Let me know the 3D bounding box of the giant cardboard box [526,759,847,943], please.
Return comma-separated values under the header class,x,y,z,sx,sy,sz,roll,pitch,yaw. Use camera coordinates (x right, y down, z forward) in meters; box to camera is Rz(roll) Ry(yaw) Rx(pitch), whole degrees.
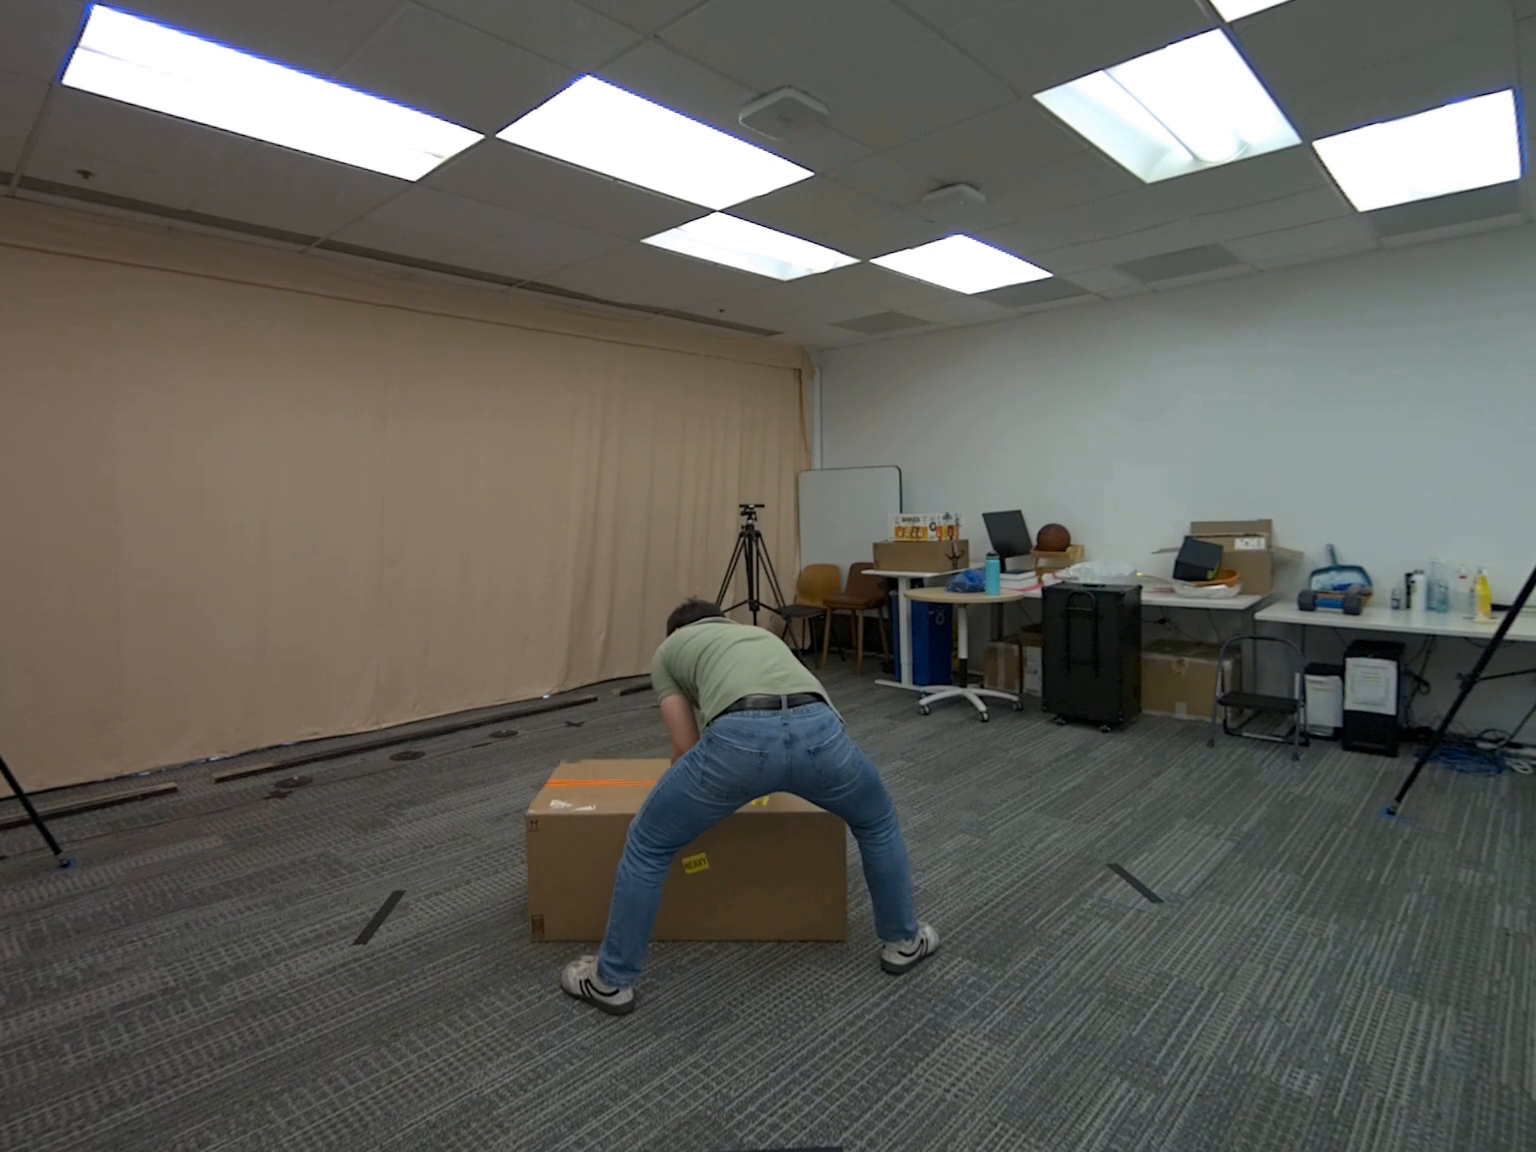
class,x,y,z,sx,sy,sz,roll,pitch,yaw
giant cardboard box,-0.265,0.930,2.977,1.028,0.425,0.578,0,5,2
